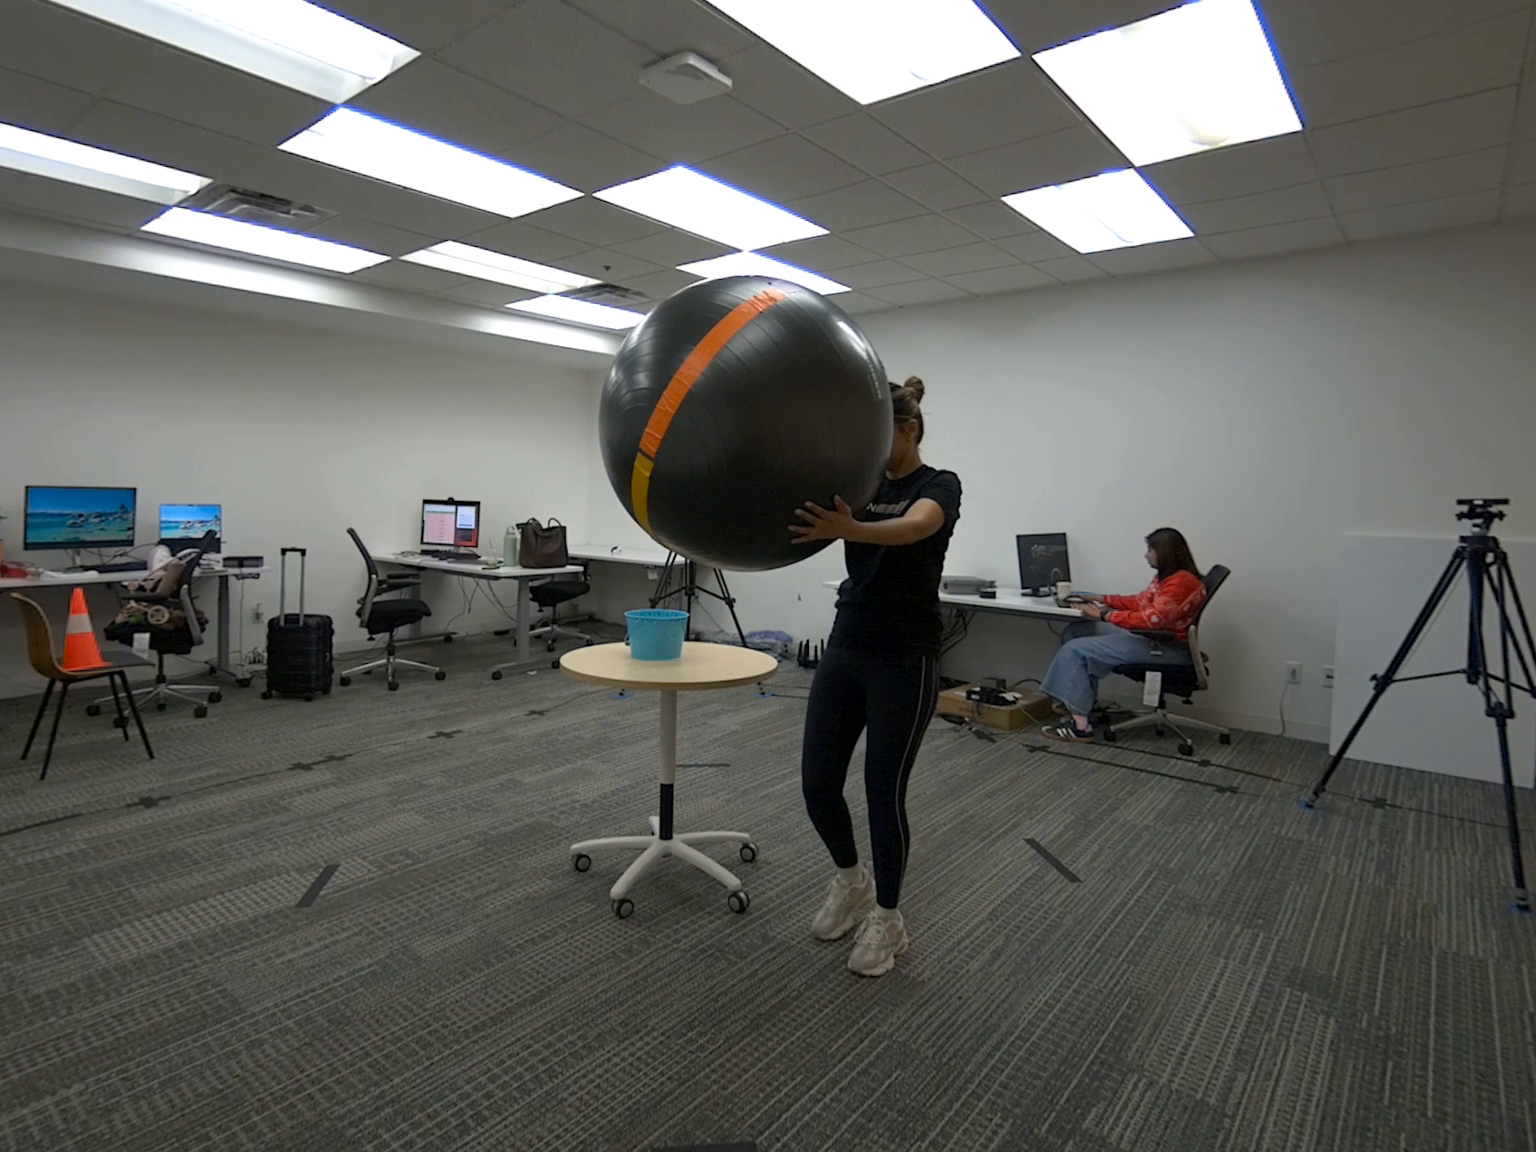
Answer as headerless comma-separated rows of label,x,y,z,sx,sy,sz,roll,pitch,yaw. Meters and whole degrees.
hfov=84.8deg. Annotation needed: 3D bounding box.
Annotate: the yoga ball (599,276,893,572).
yoga ball,-0.071,-0.382,2.205,0.757,0.756,0.761,1,4,-2
